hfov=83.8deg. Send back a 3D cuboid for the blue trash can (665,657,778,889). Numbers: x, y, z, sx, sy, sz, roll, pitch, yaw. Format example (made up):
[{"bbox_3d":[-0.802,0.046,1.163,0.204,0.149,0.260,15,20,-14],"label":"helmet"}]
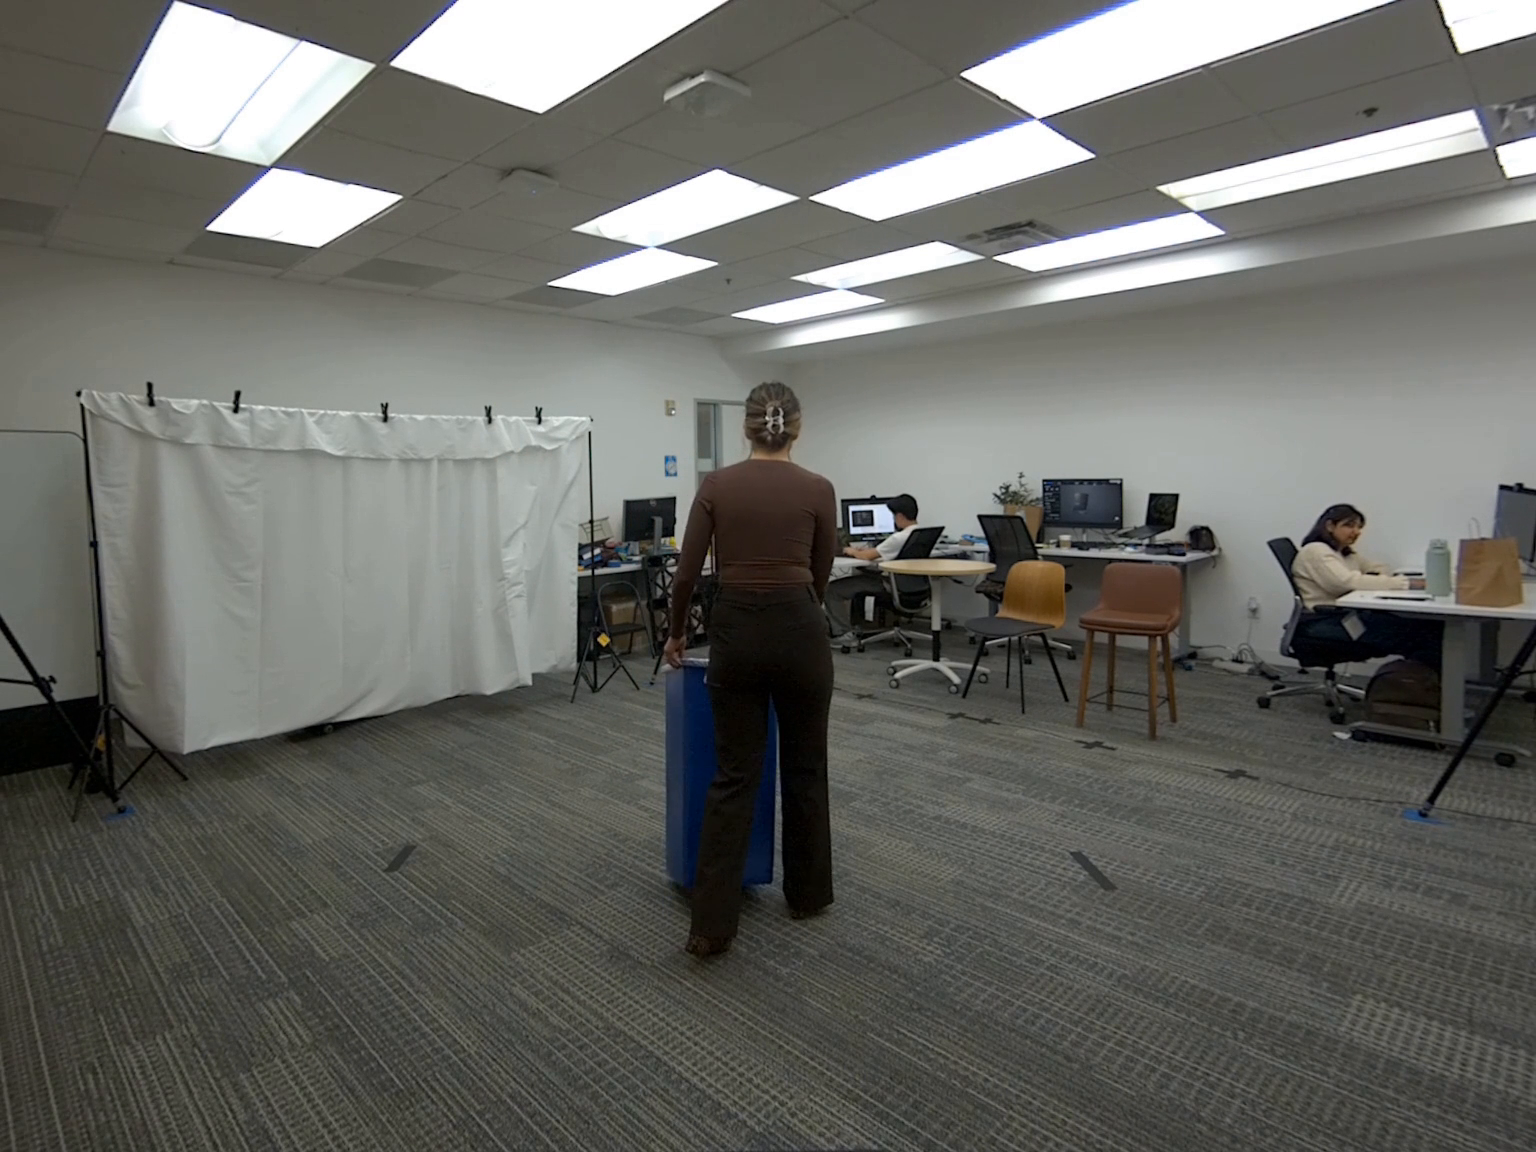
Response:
[{"bbox_3d":[-0.165,0.669,2.972,0.368,0.721,0.380,3,-12,-16],"label":"blue trash can"}]
